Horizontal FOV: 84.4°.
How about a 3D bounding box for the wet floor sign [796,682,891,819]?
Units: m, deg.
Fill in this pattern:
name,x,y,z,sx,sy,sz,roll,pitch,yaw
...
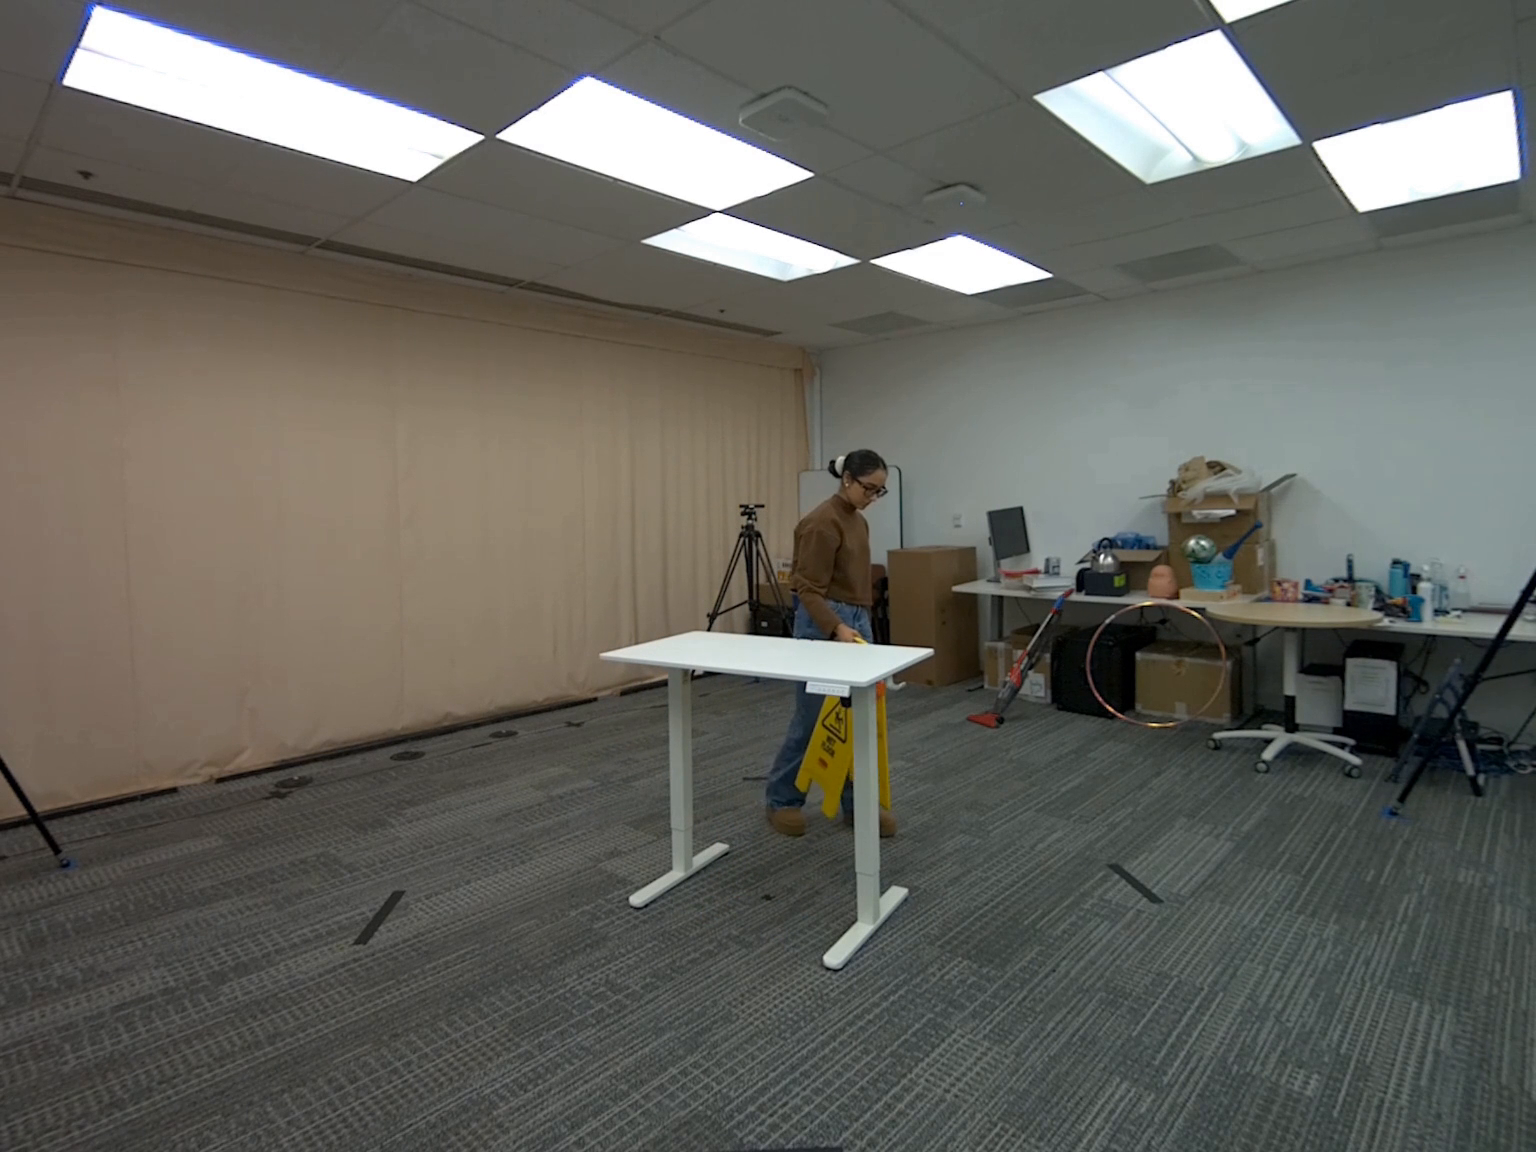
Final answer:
name,x,y,z,sx,sy,sz,roll,pitch,yaw
wet floor sign,0.327,0.561,3.266,0.283,0.641,0.291,-1,14,-25
